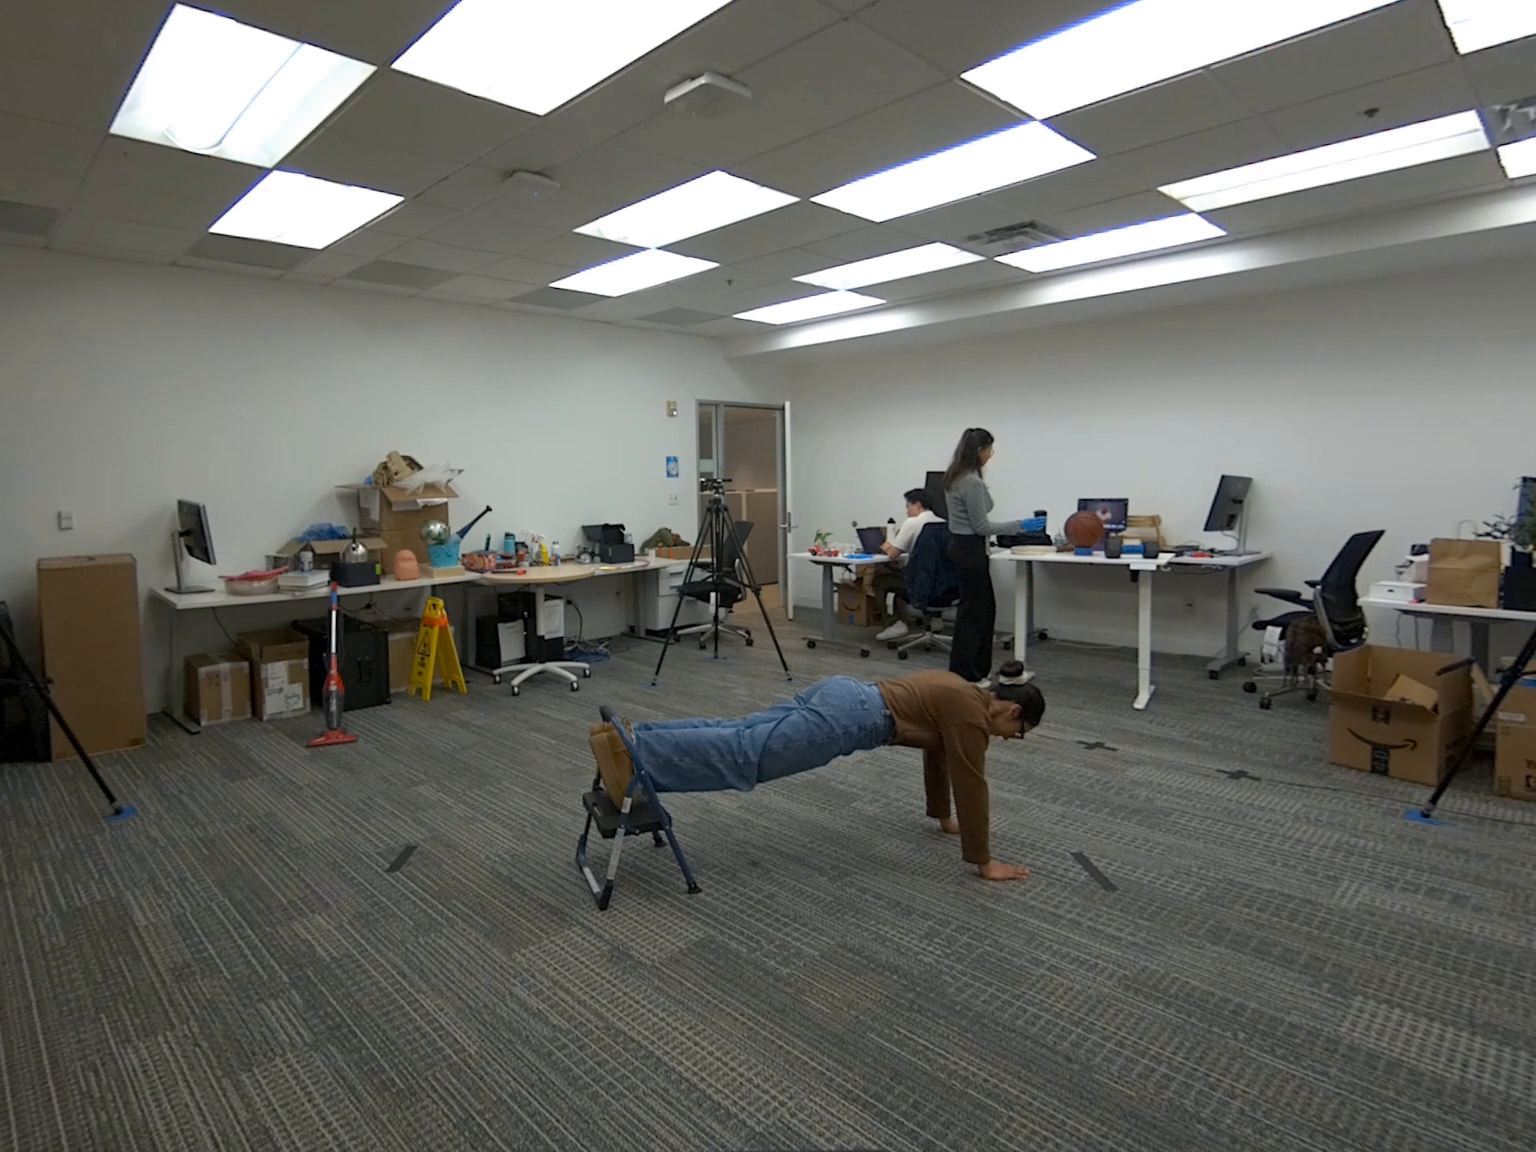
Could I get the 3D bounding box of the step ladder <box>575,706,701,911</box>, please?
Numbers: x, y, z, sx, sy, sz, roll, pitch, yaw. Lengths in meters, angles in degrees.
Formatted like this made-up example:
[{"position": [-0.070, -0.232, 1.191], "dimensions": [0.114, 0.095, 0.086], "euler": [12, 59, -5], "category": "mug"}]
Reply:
[{"position": [-0.475, 0.764, 3.010], "dimensions": [0.342, 0.604, 0.441], "euler": [-3, 5, -24], "category": "step ladder"}]
